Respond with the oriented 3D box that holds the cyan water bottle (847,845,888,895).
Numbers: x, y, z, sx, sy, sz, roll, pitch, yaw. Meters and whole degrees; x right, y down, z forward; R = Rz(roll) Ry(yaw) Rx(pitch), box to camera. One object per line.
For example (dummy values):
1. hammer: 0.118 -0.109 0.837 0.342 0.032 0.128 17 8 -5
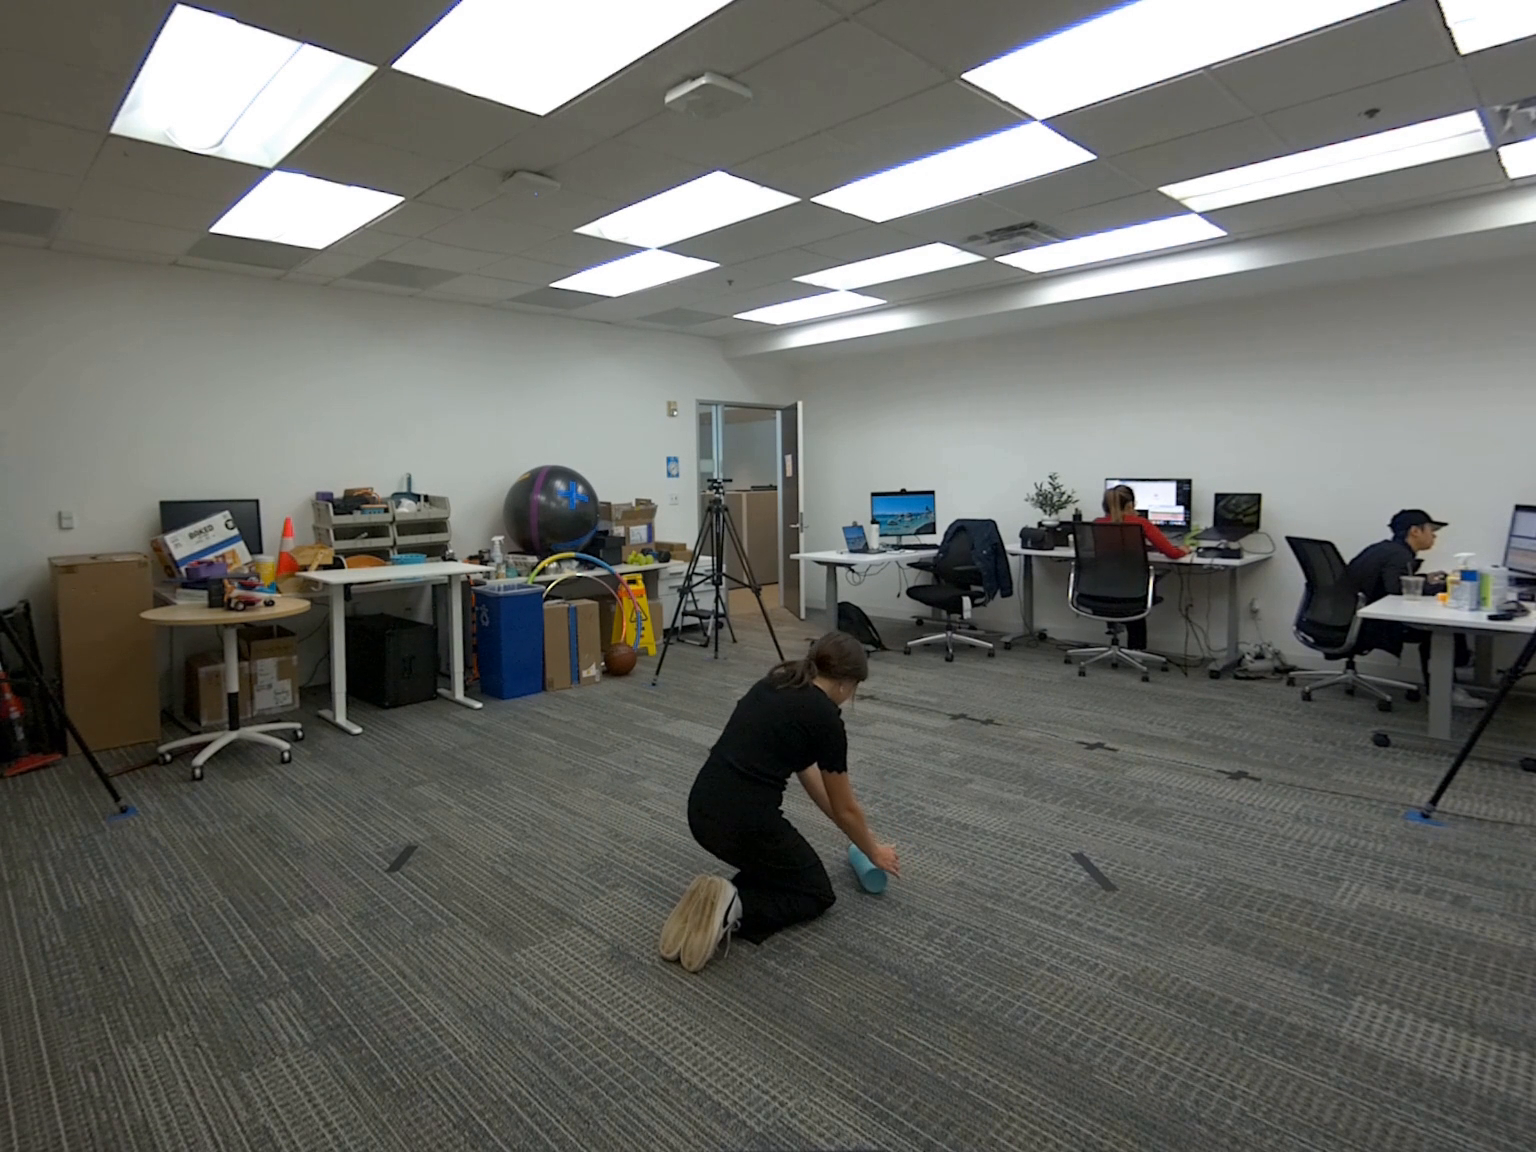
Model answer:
1. cyan water bottle: 0.345 1.004 2.998 0.092 0.092 0.286 -1 5 -7
